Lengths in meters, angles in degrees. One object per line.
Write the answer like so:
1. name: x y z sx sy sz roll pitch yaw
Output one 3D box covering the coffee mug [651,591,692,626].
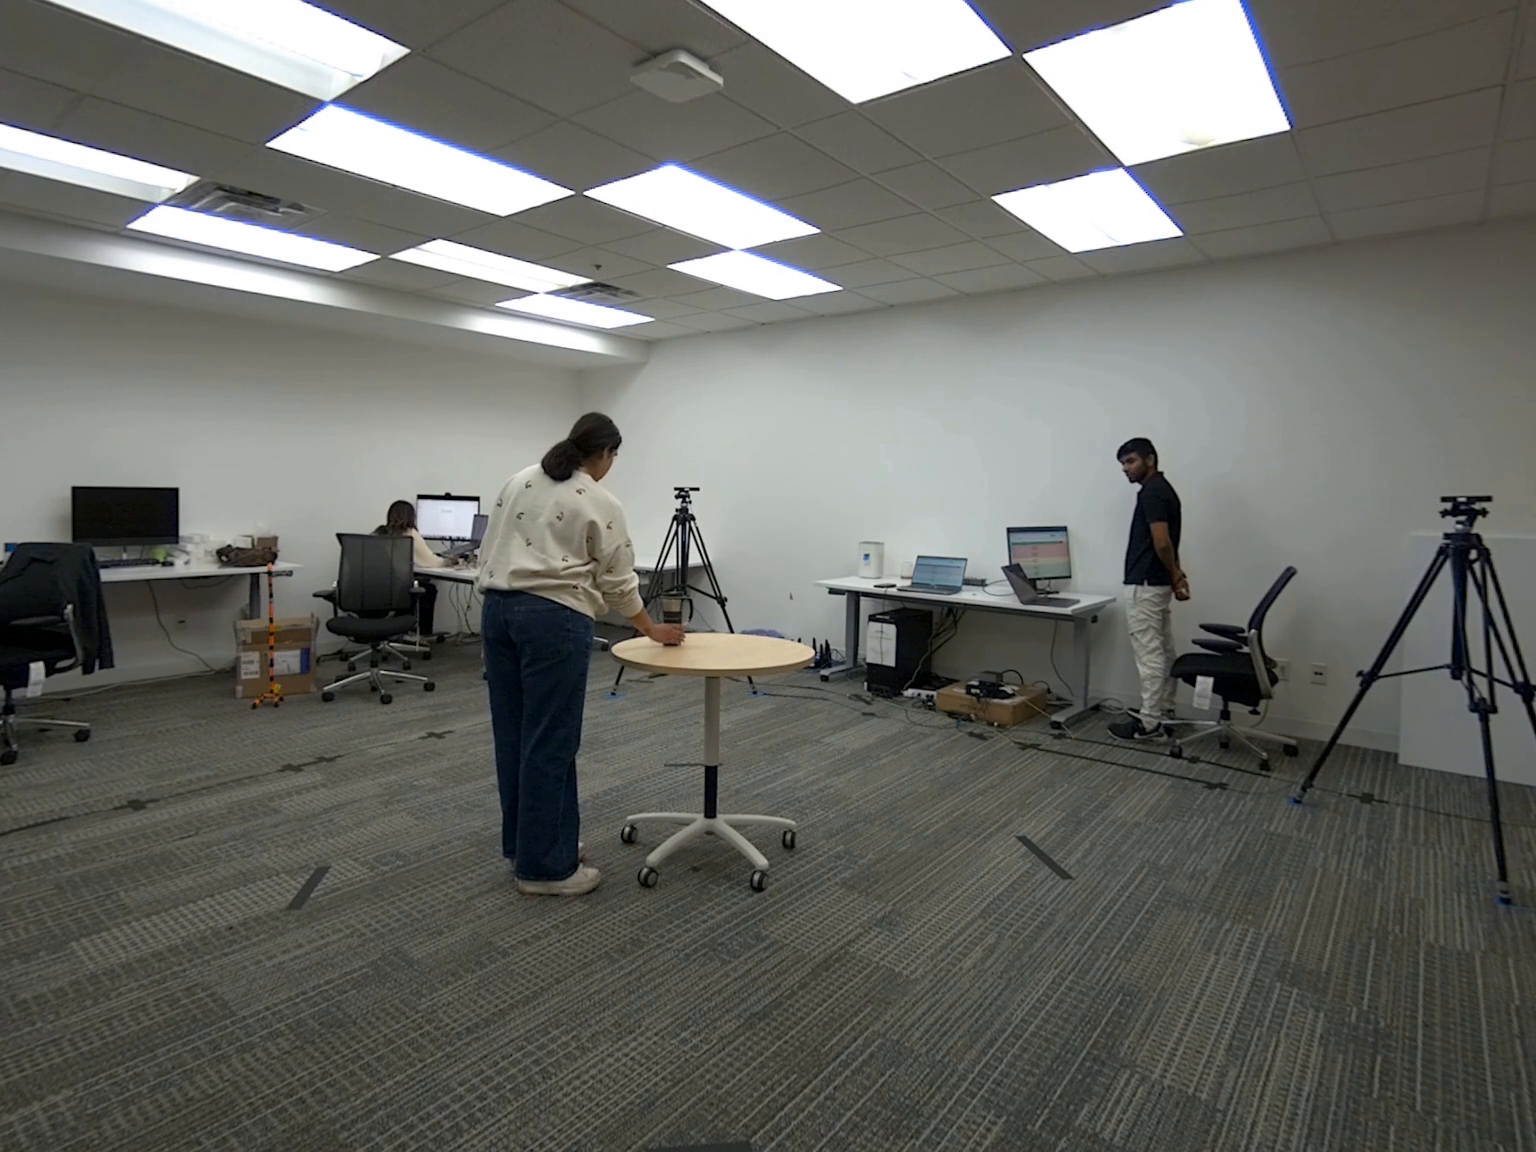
1. coffee mug: -0.358 0.165 3.294 0.125 0.203 0.085 -2 -2 26
